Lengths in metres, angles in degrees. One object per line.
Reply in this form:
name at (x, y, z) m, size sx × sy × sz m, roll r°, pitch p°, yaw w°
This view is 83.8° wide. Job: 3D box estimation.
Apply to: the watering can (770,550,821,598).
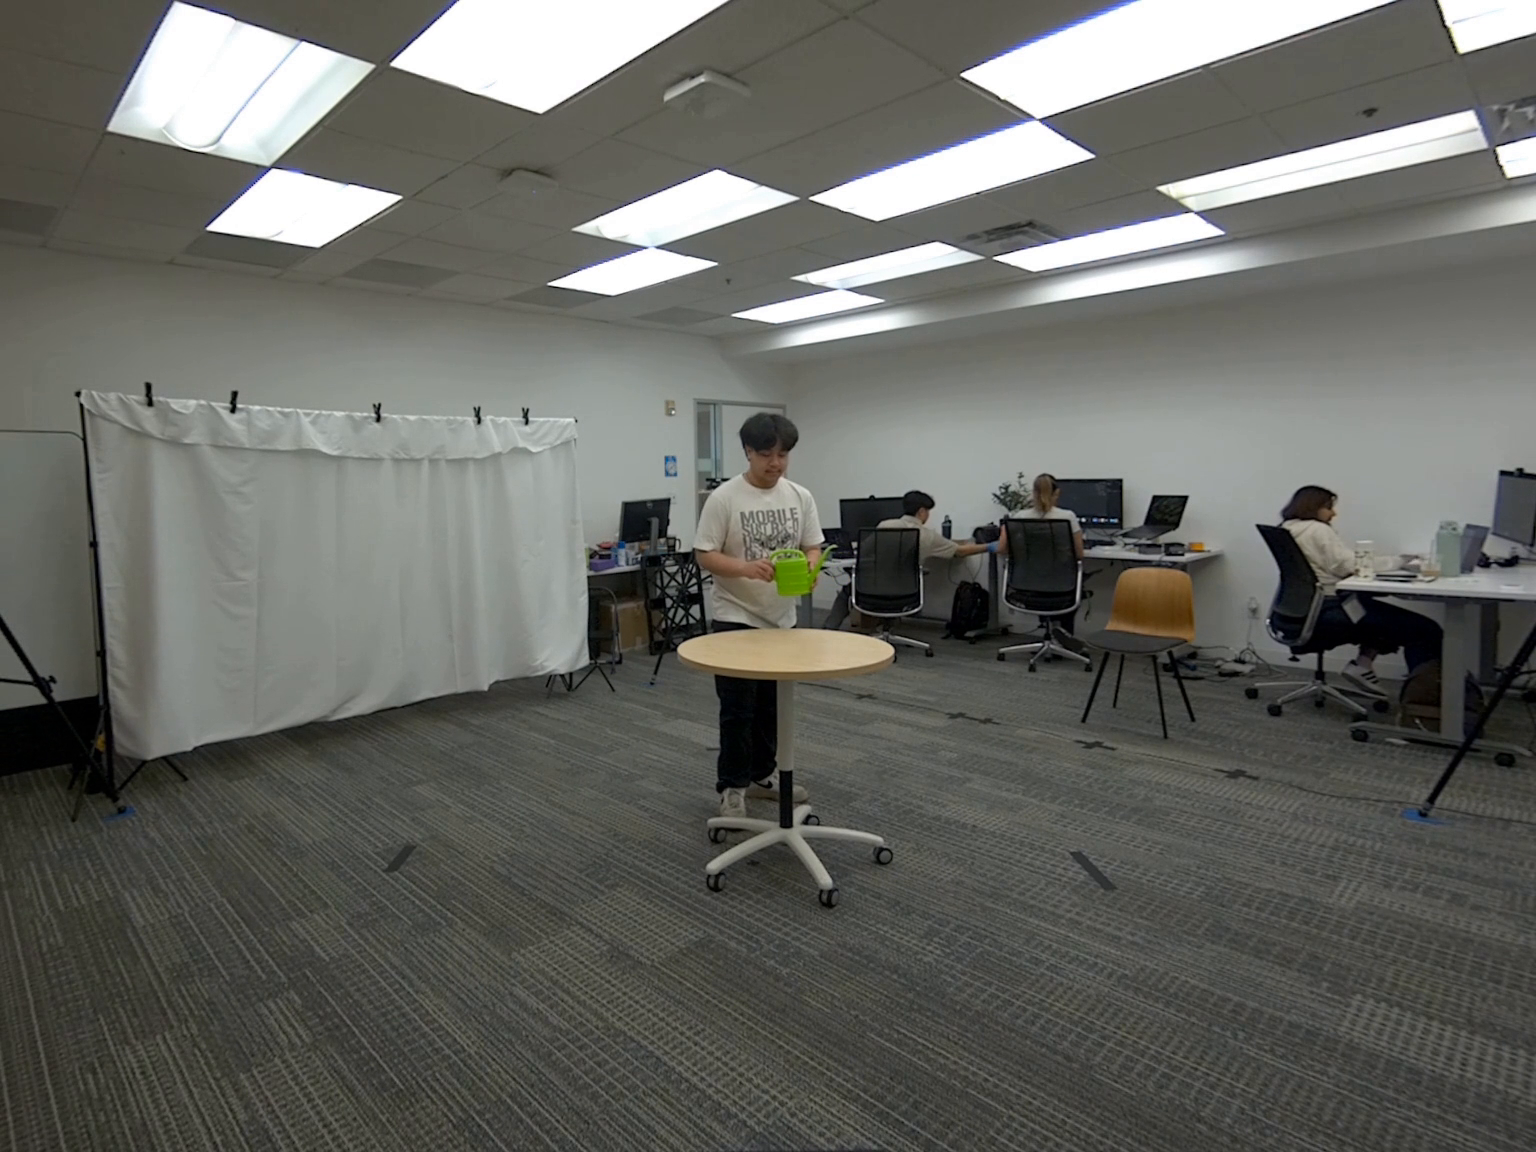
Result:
watering can at (0.138, -0.016, 3.286) m, size 0.285 × 0.176 × 0.096 m, roll -5°, pitch 6°, yaw 33°
